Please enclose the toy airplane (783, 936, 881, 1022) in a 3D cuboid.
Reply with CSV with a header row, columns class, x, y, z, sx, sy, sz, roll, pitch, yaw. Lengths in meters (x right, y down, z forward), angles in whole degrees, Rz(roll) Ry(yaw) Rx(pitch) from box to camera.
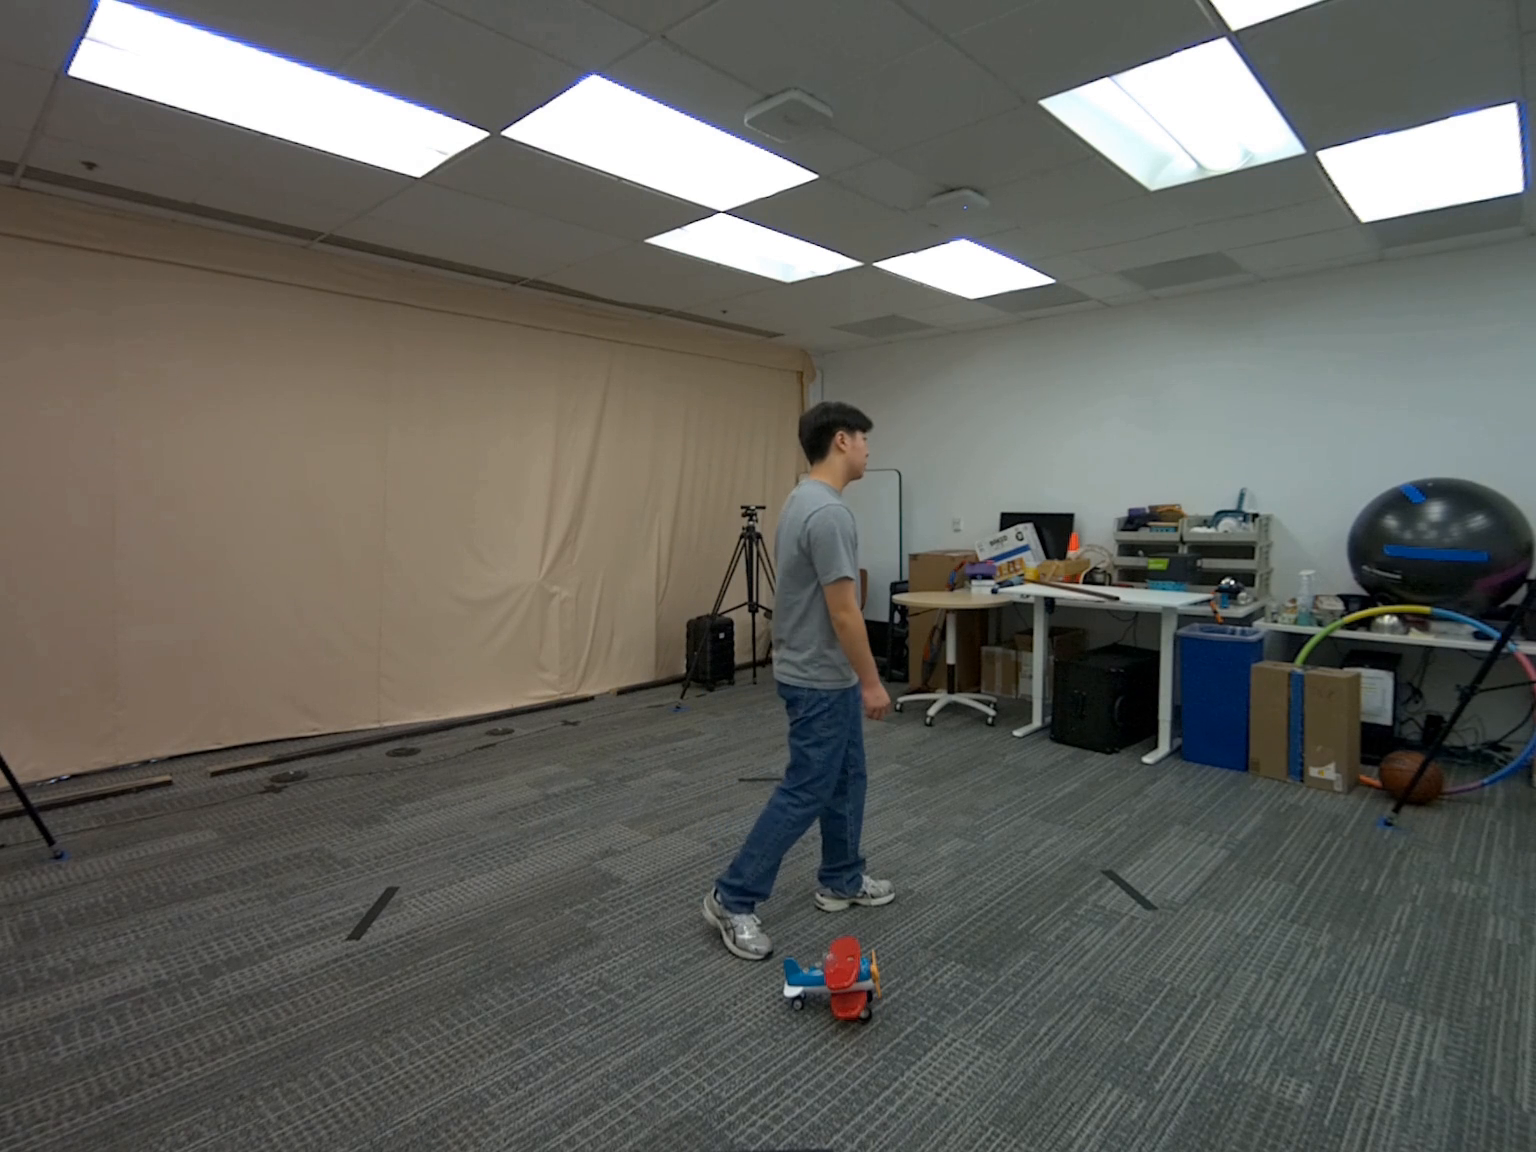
class,x,y,z,sx,sy,sz,roll,pitch,yaw
toy airplane,0.182,1.127,2.305,0.254,0.156,0.257,-2,6,-19
